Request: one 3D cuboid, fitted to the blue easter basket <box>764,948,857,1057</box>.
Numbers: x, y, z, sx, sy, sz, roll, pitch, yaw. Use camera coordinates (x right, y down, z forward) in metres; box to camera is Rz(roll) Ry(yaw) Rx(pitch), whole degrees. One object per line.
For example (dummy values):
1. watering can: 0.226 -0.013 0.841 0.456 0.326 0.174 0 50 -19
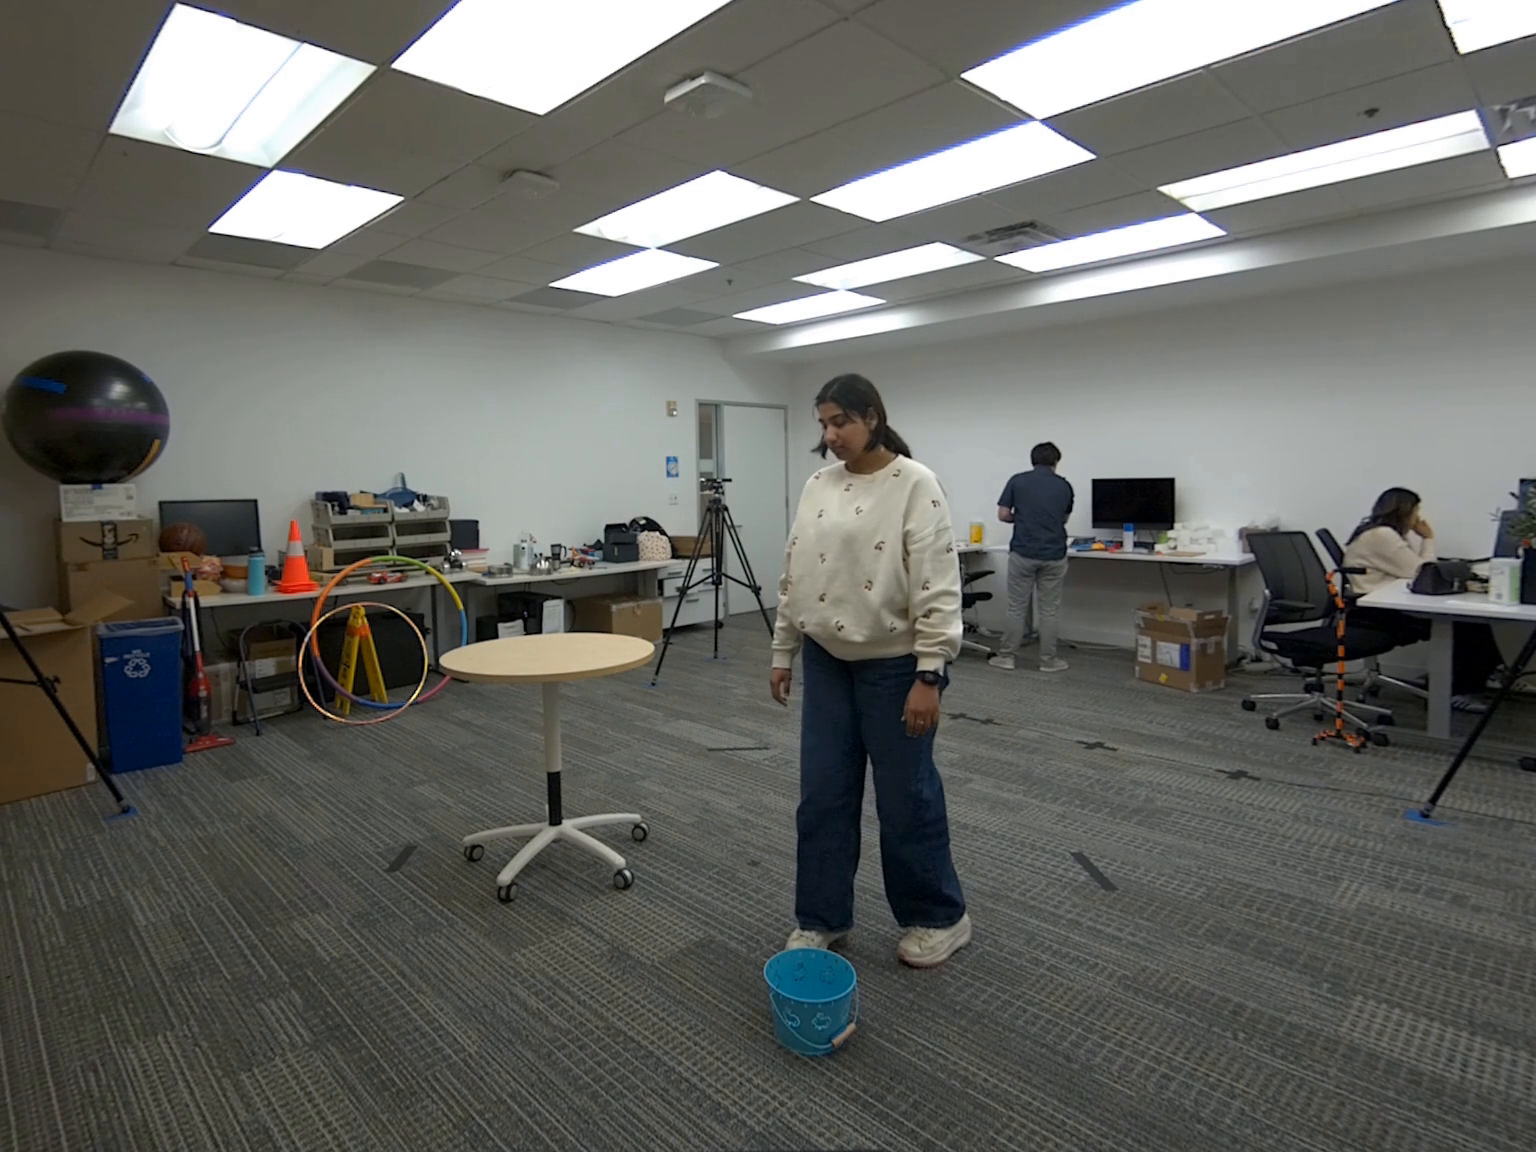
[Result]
1. blue easter basket: 0.113 1.078 2.153 0.243 0.155 0.245 -1 6 -2
